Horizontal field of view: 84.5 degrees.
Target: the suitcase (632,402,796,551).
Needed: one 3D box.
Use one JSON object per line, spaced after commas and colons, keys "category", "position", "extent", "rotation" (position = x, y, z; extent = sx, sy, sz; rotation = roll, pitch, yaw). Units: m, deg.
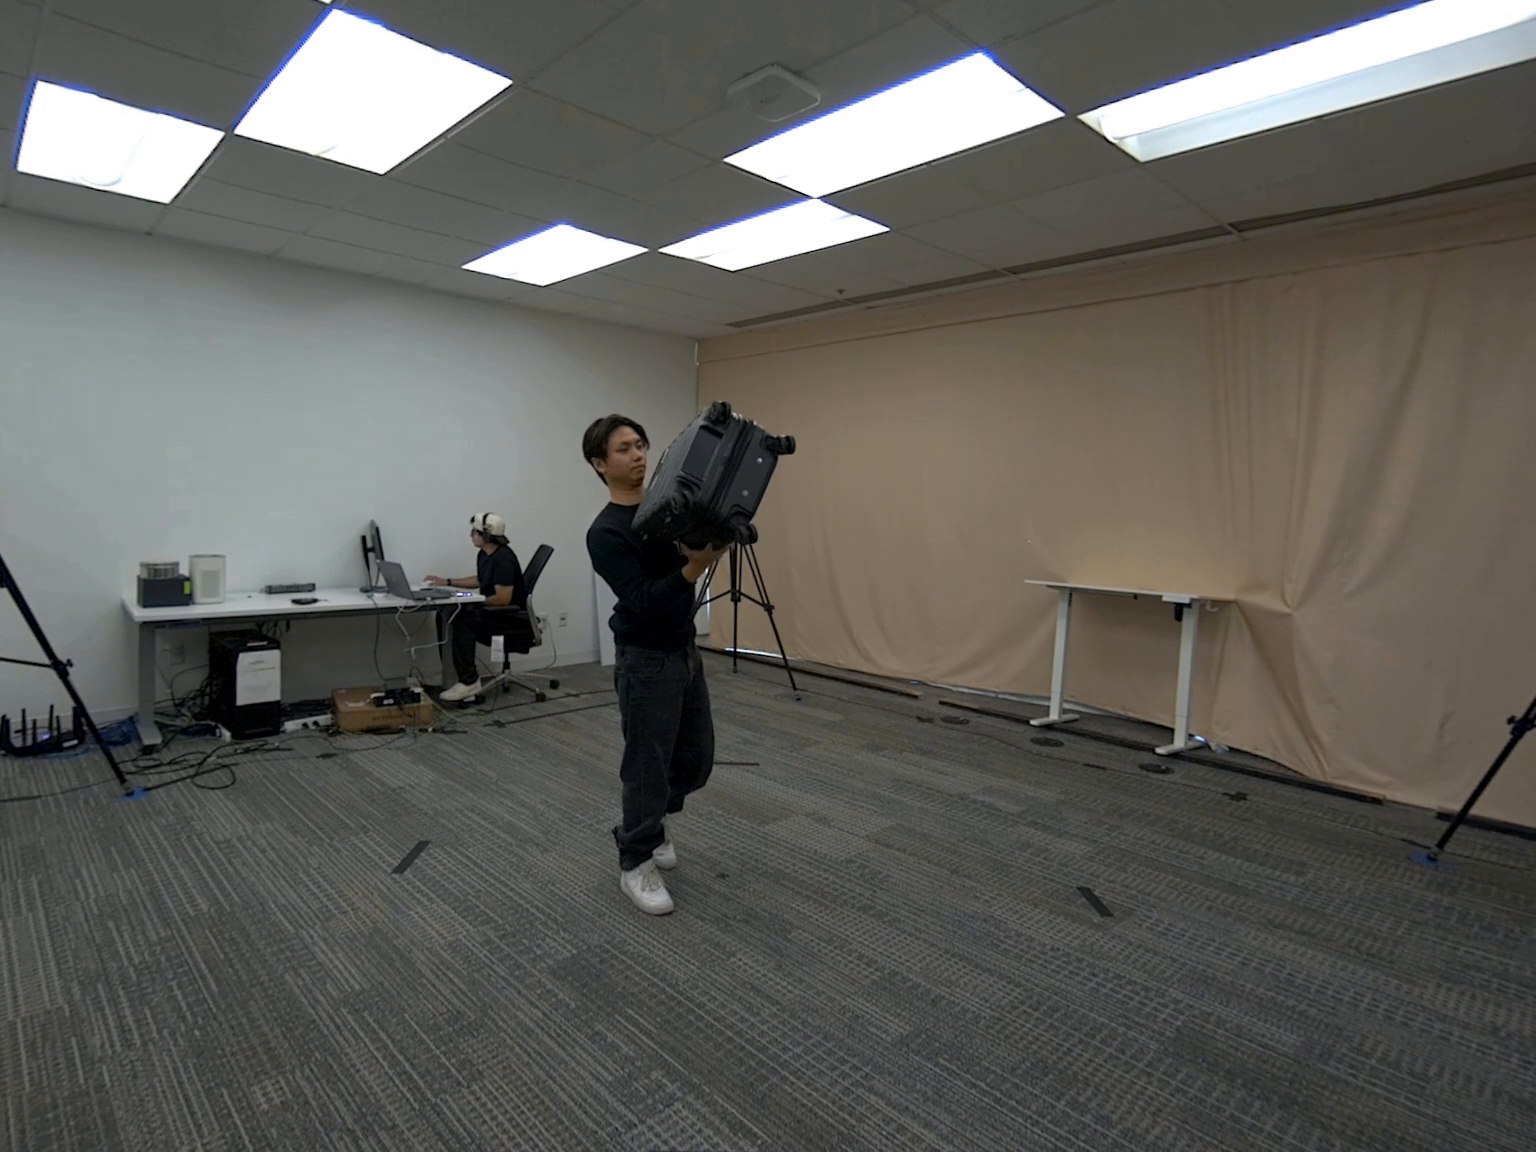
{"category": "suitcase", "position": [-0.194, -0.266, 2.509], "extent": [0.244, 0.378, 0.554], "rotation": [27, -17, -17]}
